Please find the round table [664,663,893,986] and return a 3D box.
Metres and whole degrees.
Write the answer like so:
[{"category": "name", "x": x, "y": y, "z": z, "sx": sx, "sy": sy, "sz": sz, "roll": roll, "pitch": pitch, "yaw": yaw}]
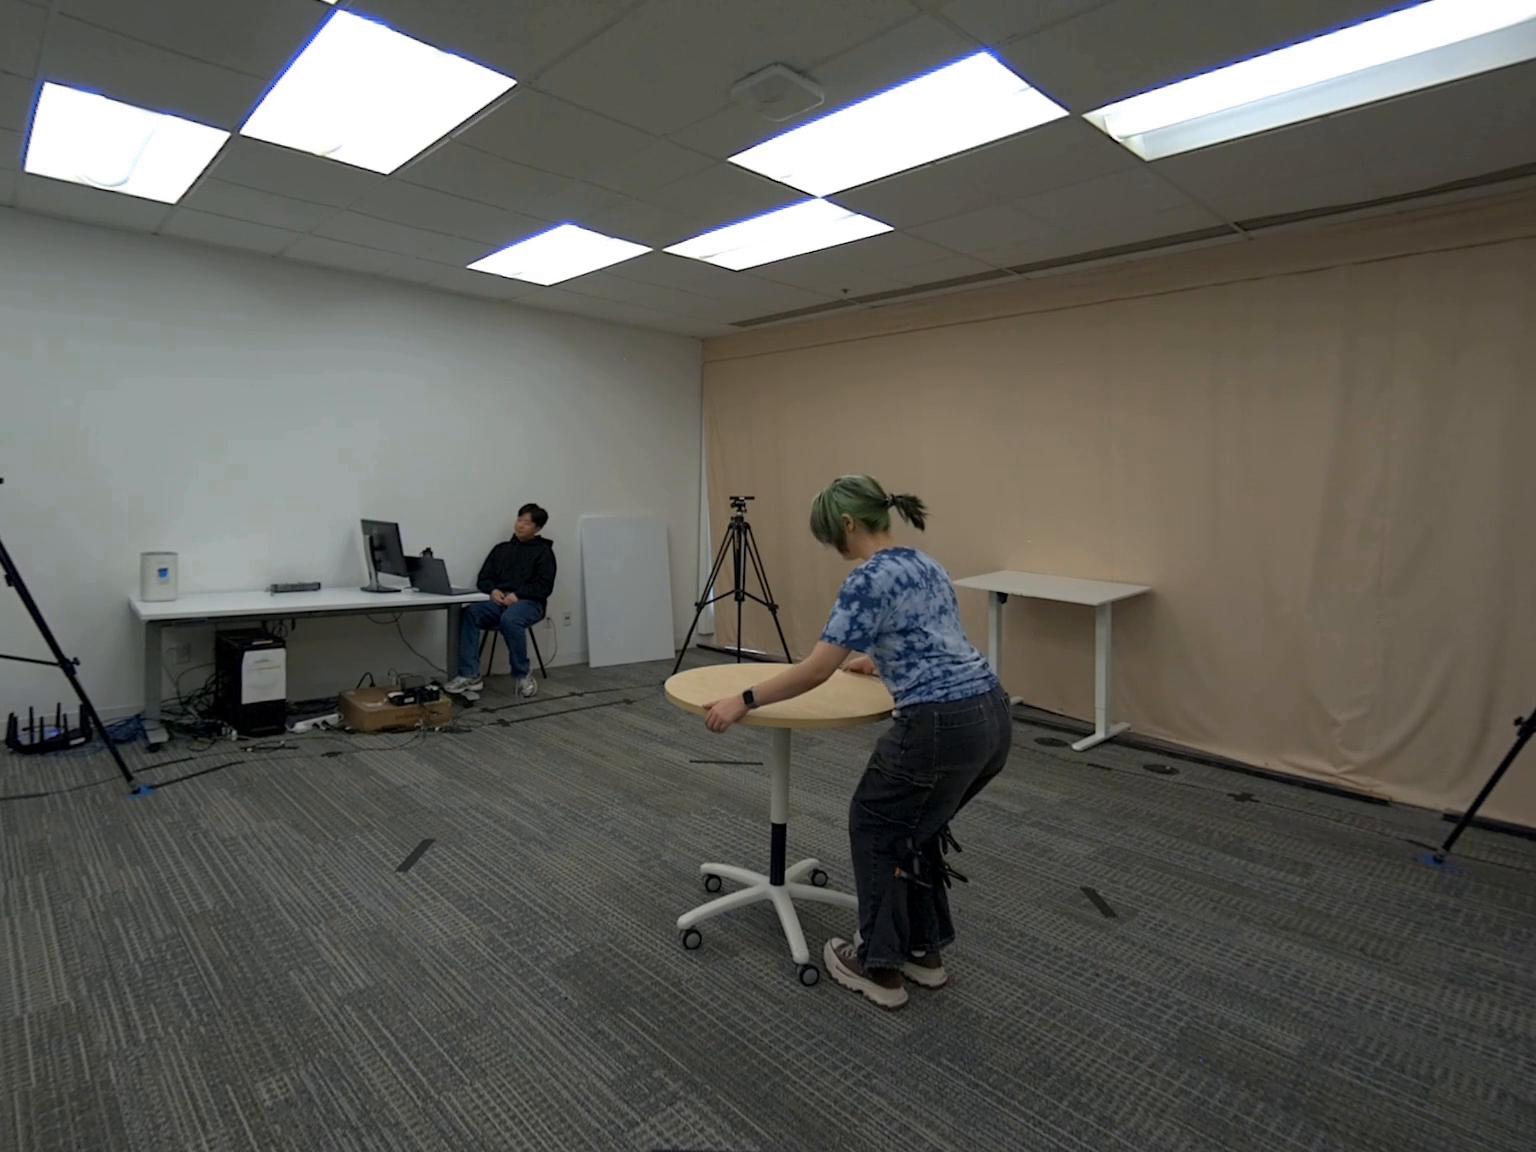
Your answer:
[{"category": "round table", "x": 0.028, "y": 0.754, "z": 2.730, "sx": 0.763, "sy": 0.792, "sz": 0.767, "roll": 2, "pitch": 4, "yaw": -1}]
